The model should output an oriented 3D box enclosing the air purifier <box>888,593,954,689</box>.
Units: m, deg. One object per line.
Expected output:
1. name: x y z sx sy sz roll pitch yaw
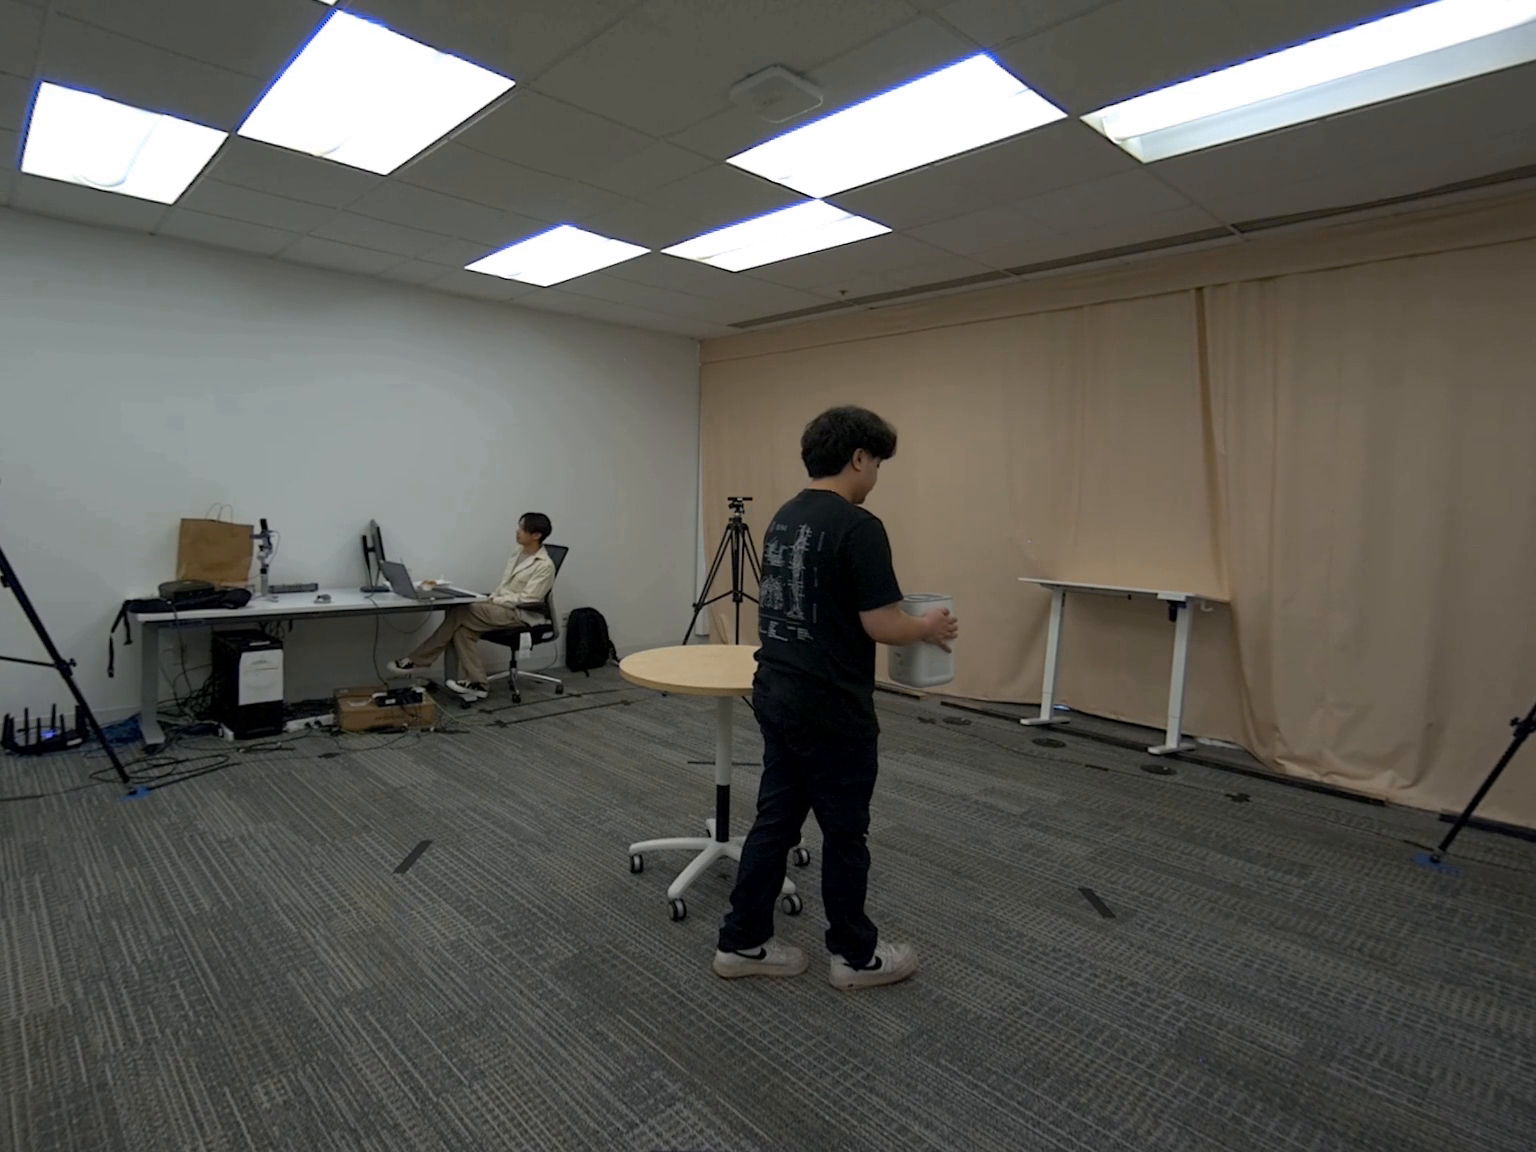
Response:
1. air purifier: 0.451 0.194 2.567 0.168 0.265 0.174 -3 4 -27
